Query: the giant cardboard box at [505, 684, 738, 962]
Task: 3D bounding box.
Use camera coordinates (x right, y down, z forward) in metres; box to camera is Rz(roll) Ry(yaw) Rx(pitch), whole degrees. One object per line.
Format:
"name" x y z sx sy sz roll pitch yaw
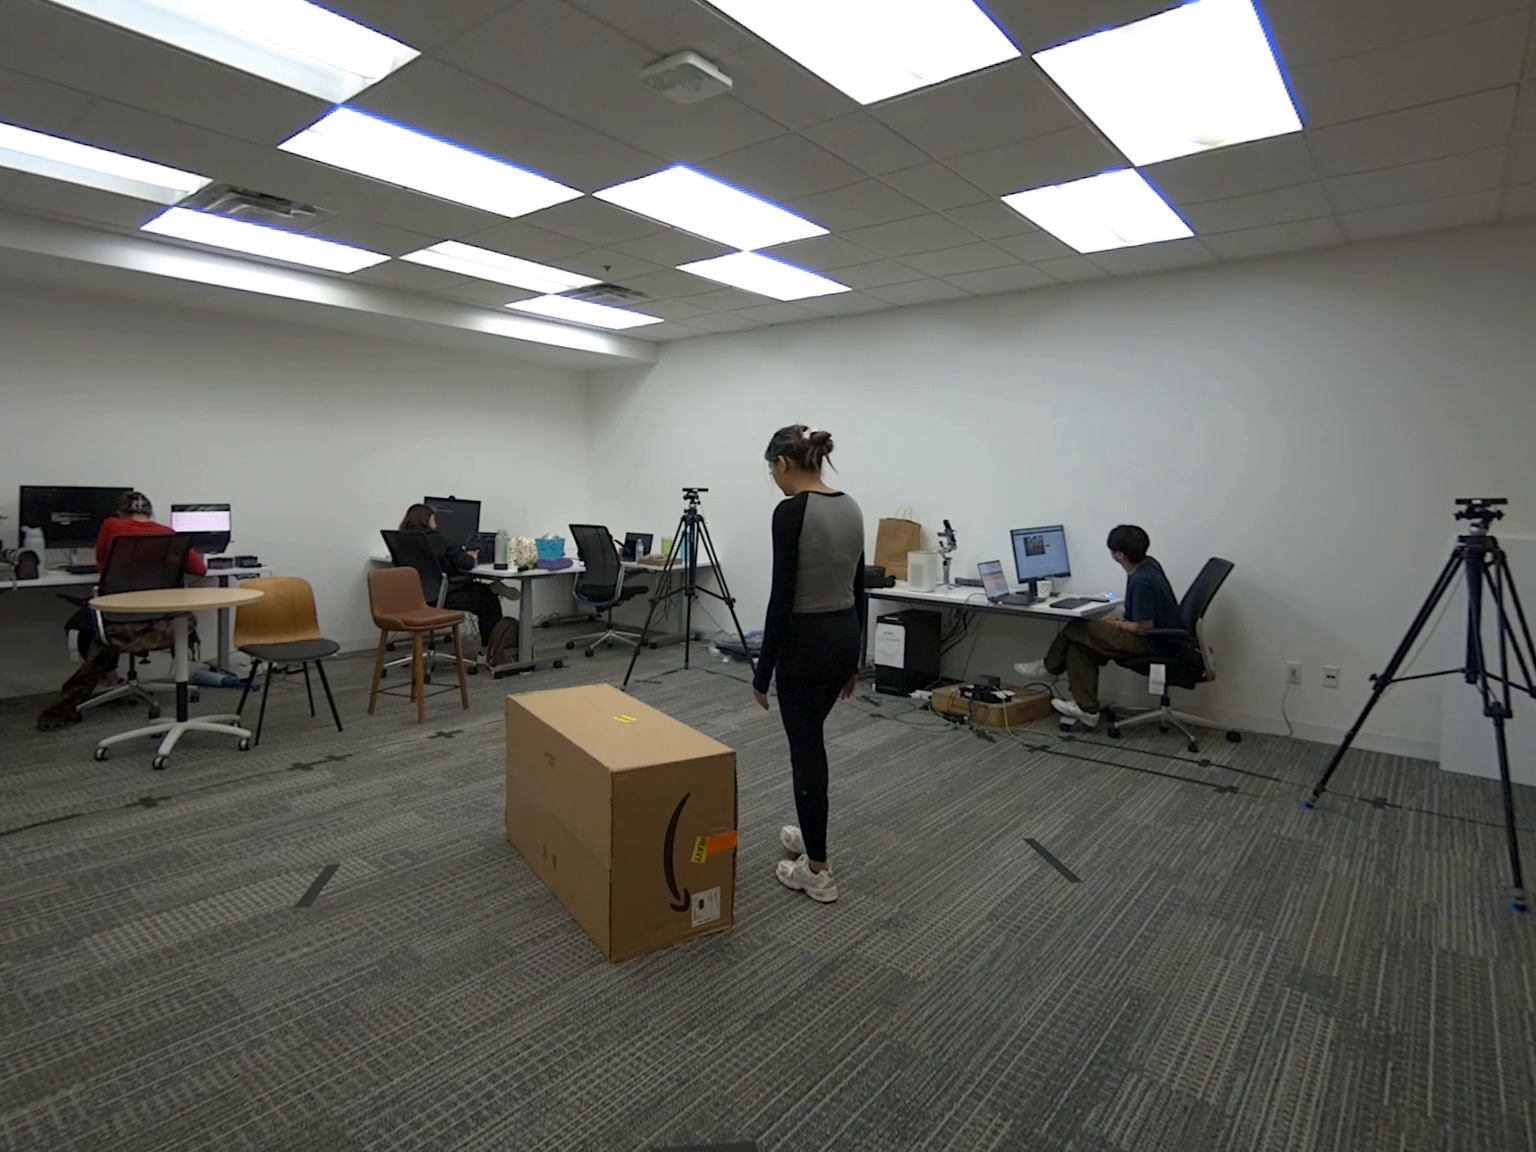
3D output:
"giant cardboard box" -0.570 0.786 2.999 0.414 0.575 1.059 -2 6 -33
